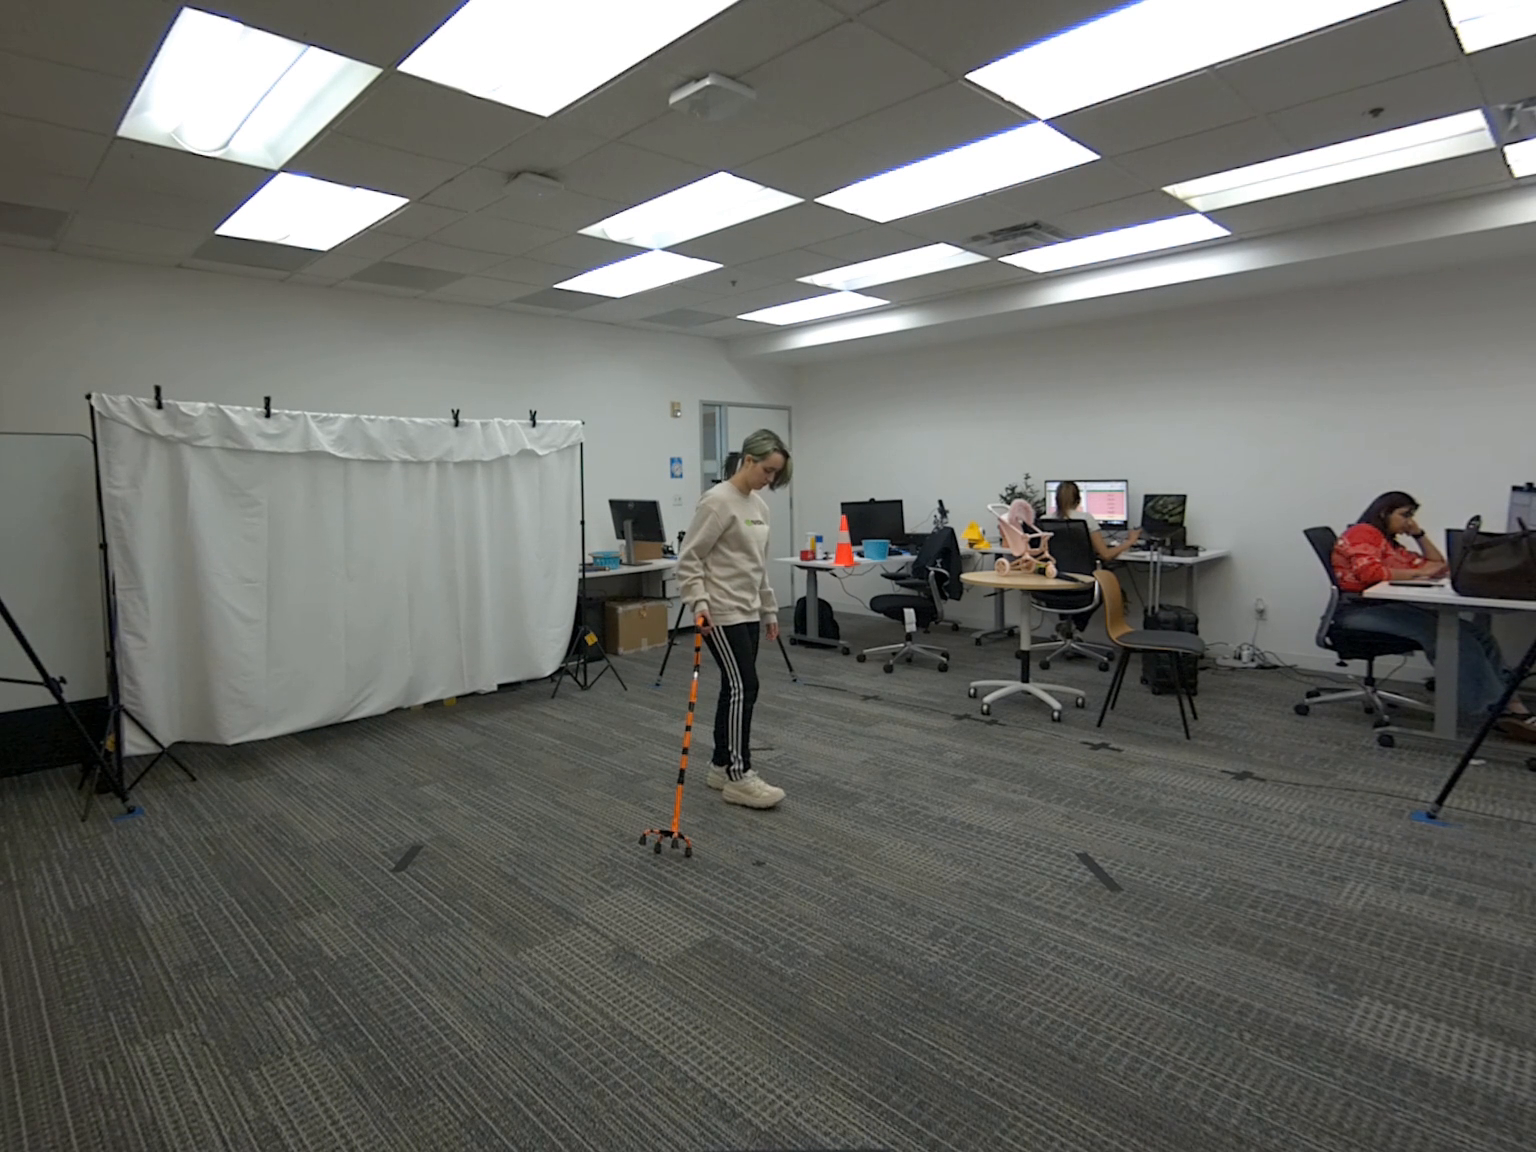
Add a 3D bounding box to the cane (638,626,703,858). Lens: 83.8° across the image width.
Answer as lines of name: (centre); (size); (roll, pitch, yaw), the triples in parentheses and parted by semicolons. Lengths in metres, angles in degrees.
cane: (-0.327, 0.592, 3.308); (0.154, 0.925, 0.200); (0, -26, 13)
